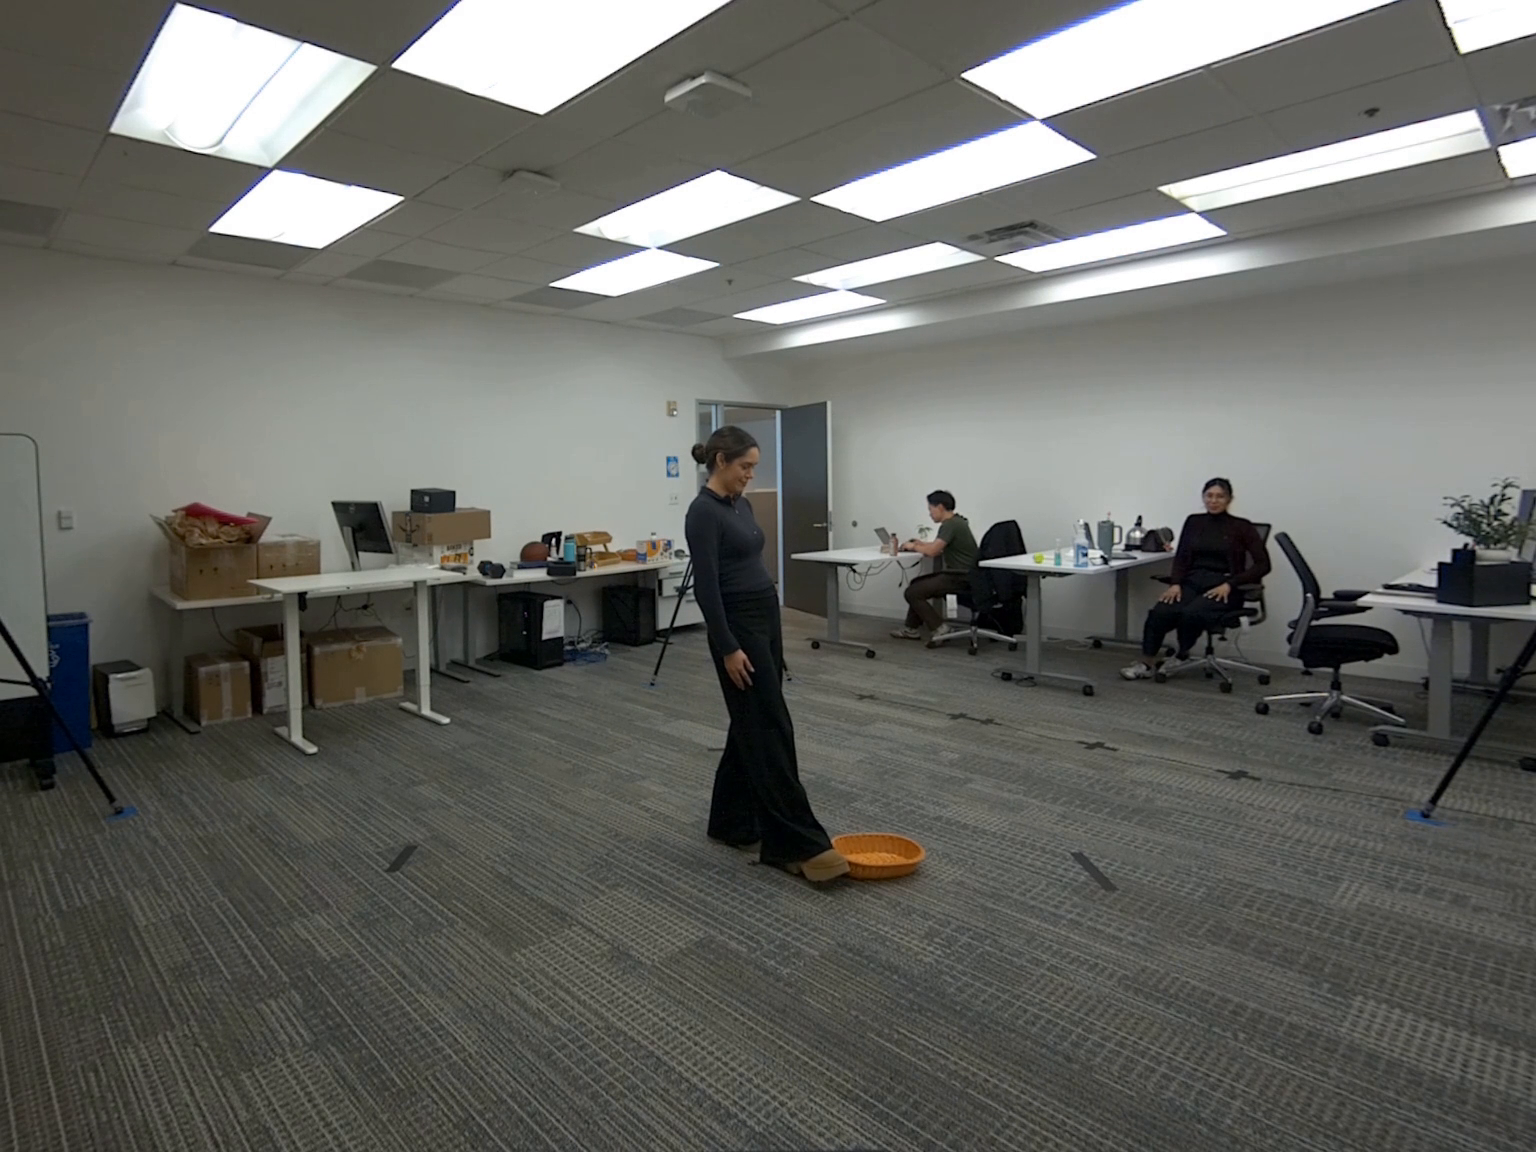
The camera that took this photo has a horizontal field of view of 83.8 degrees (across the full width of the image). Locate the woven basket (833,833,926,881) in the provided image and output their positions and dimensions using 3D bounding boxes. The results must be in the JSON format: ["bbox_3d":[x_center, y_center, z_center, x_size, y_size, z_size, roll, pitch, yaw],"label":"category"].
[{"bbox_3d":[0.384,0.994,3.030,0.345,0.073,0.257,2,6,-15],"label":"woven basket"}]
